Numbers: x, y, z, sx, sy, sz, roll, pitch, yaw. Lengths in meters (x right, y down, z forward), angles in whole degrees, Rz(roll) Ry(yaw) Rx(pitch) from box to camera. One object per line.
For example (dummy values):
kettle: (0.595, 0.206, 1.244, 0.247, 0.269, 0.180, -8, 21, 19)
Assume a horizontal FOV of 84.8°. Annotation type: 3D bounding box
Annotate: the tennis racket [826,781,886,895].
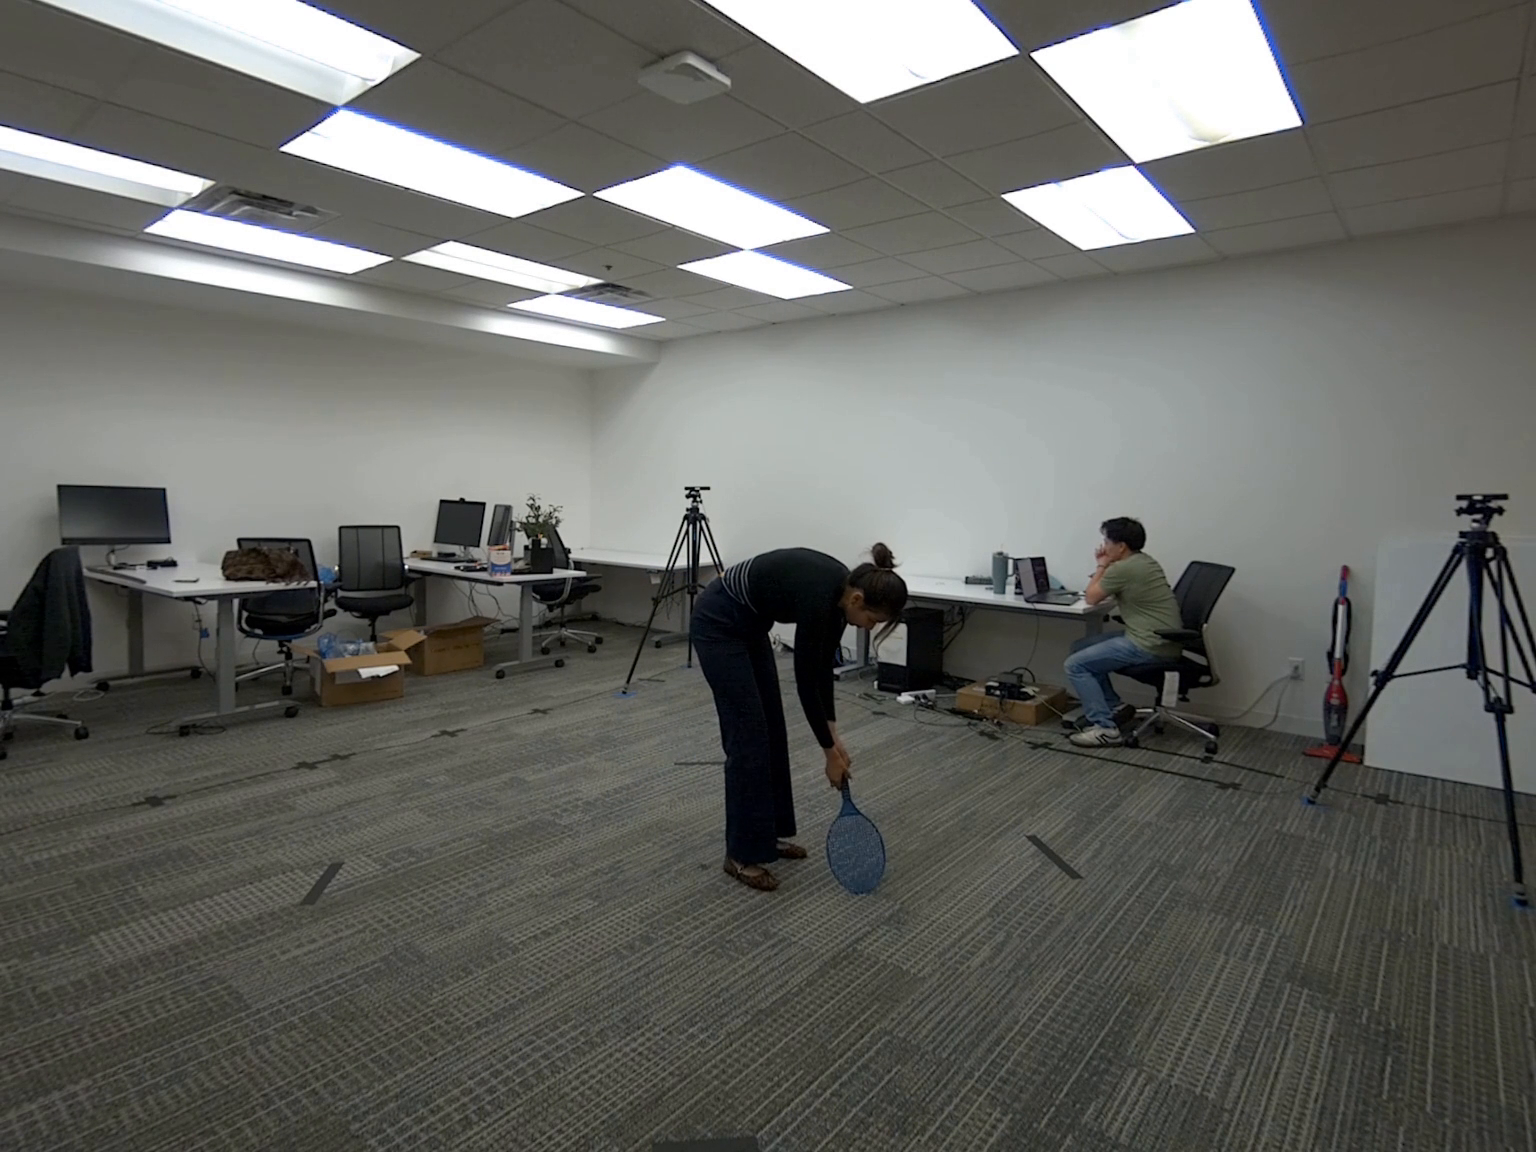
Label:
tennis racket: (0.302, 0.885, 3.017, 0.213, 0.441, 0.031, -6, -19, -3)
